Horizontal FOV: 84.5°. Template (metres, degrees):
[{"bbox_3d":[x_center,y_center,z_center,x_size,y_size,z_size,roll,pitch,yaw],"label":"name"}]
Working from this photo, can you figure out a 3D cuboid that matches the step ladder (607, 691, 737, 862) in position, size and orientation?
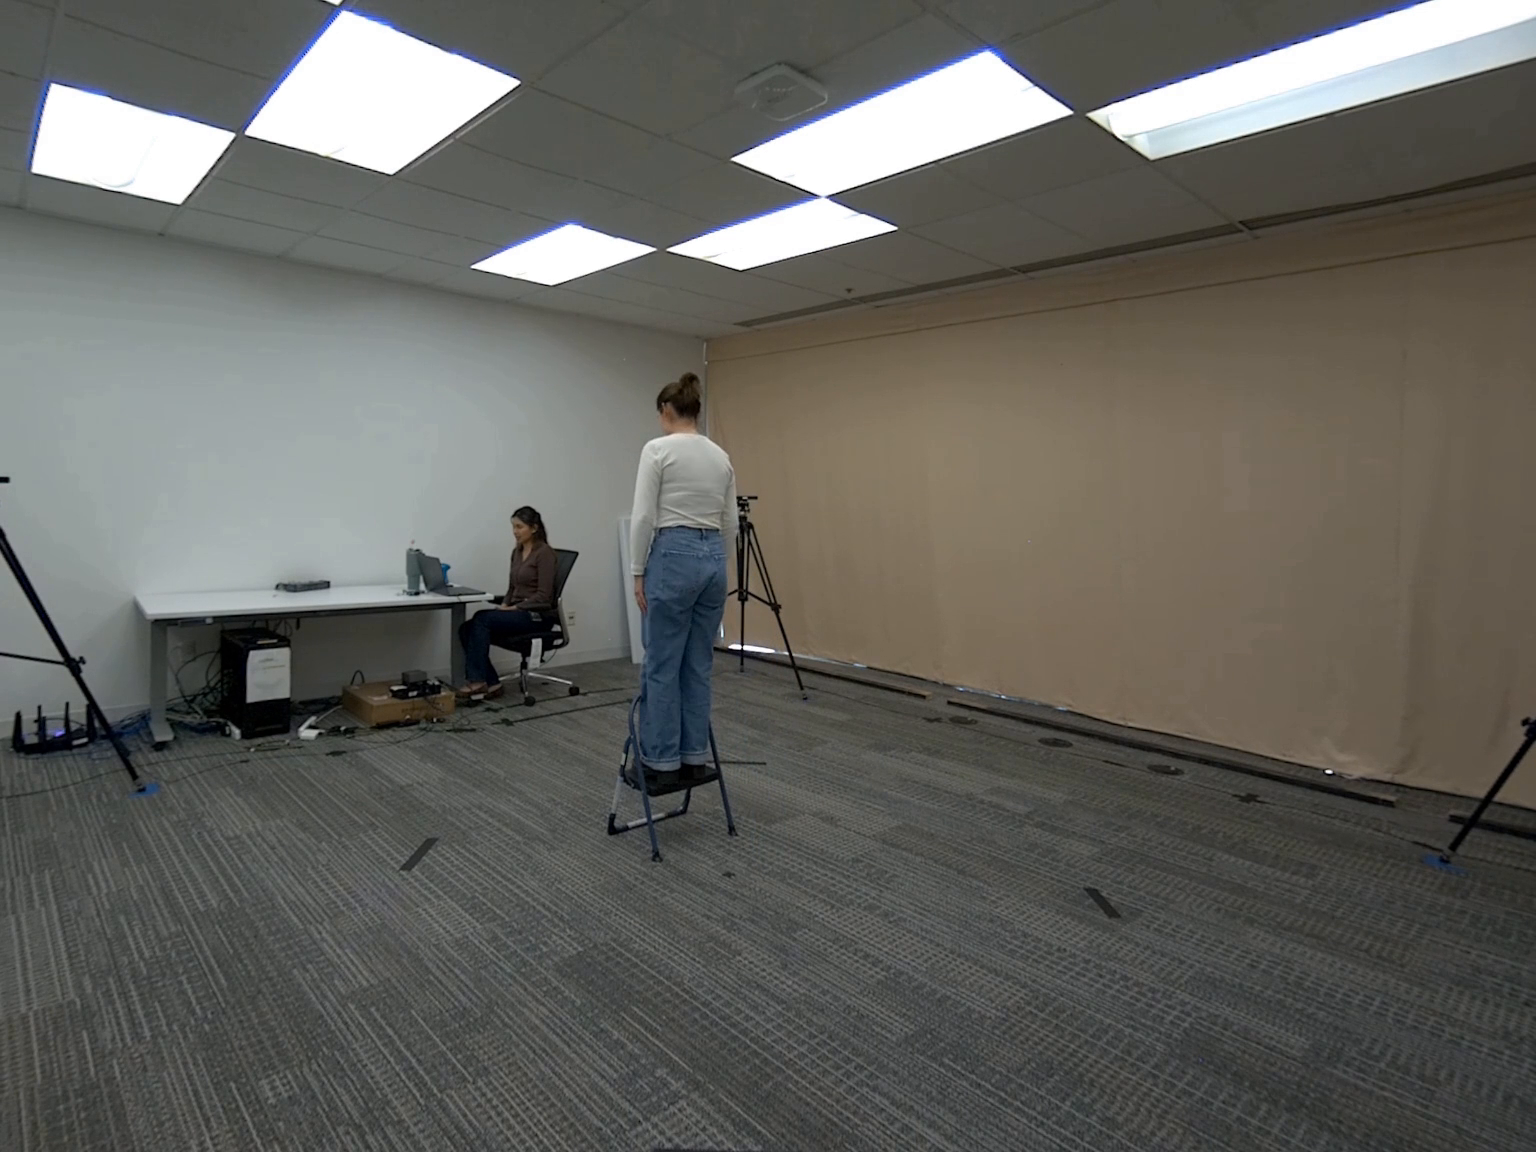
[{"bbox_3d":[-0.393,0.764,3.450,0.421,0.605,0.358,-2,4,-45],"label":"step ladder"}]
